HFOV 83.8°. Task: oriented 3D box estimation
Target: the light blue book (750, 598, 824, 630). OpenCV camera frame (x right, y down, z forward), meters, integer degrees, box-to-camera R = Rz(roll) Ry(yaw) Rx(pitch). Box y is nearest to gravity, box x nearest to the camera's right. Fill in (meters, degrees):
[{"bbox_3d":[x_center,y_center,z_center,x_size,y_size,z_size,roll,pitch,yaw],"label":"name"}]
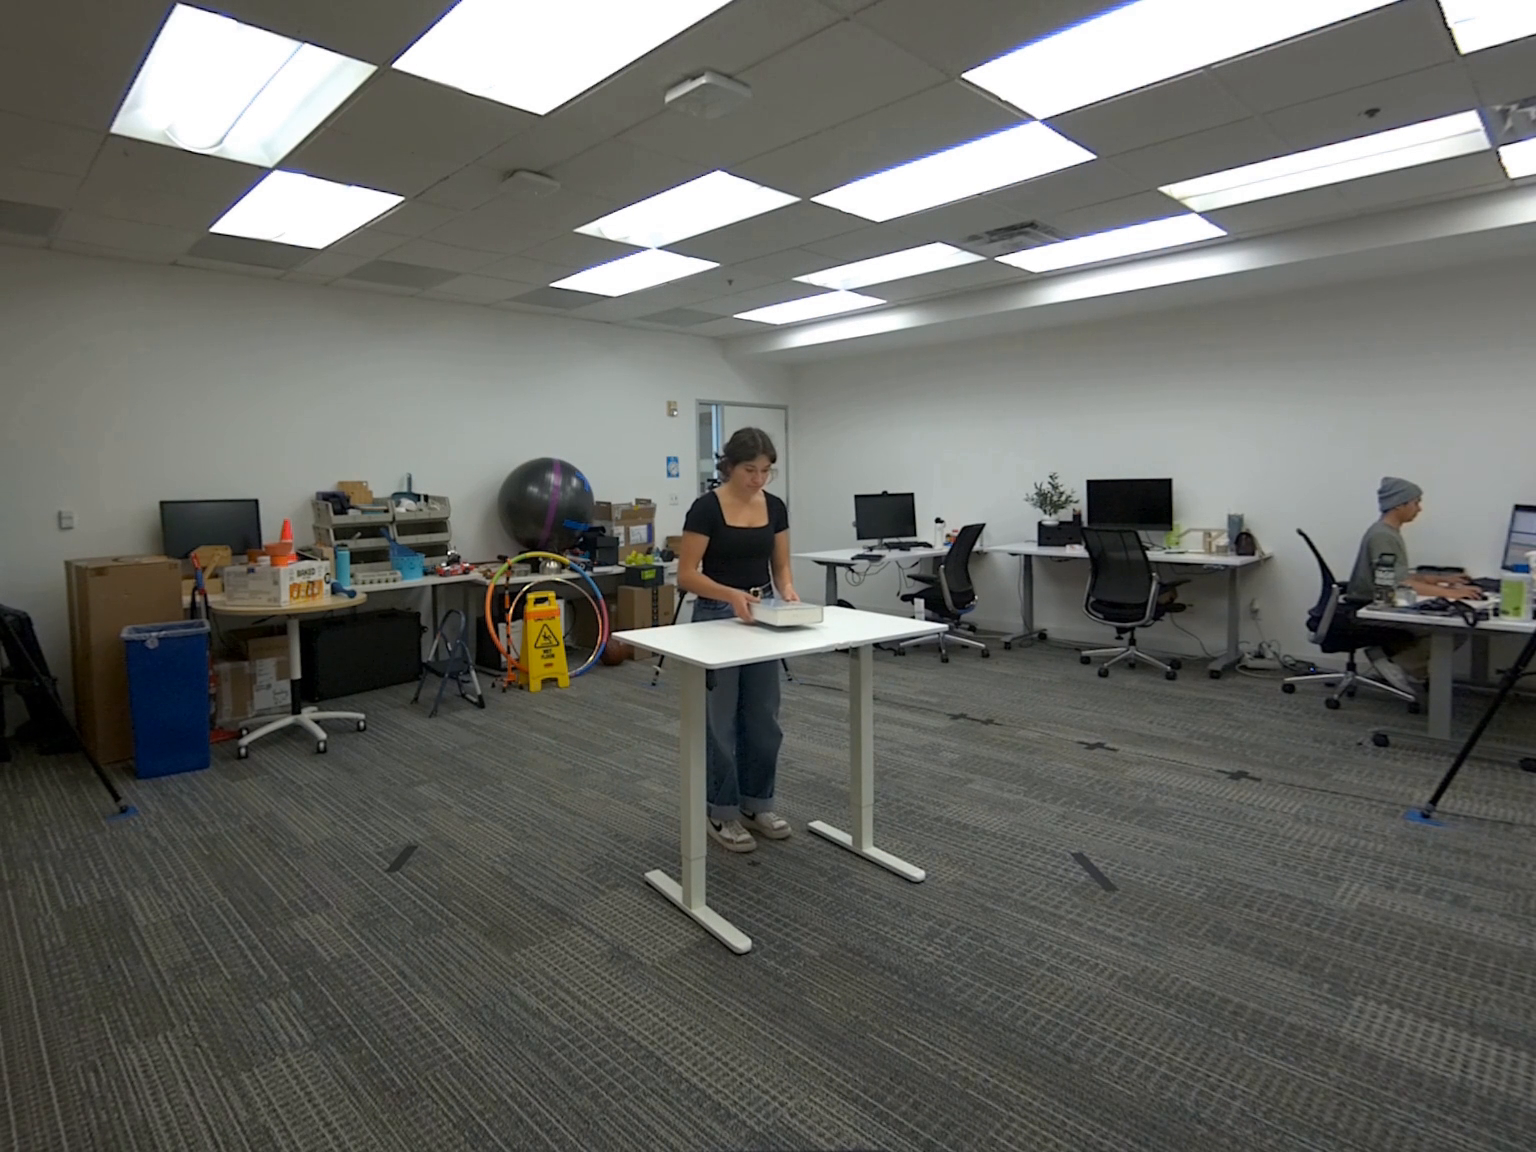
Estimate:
[{"bbox_3d":[0.041,0.128,2.987,0.187,0.059,0.268,-2,5,-28],"label":"light blue book"}]
